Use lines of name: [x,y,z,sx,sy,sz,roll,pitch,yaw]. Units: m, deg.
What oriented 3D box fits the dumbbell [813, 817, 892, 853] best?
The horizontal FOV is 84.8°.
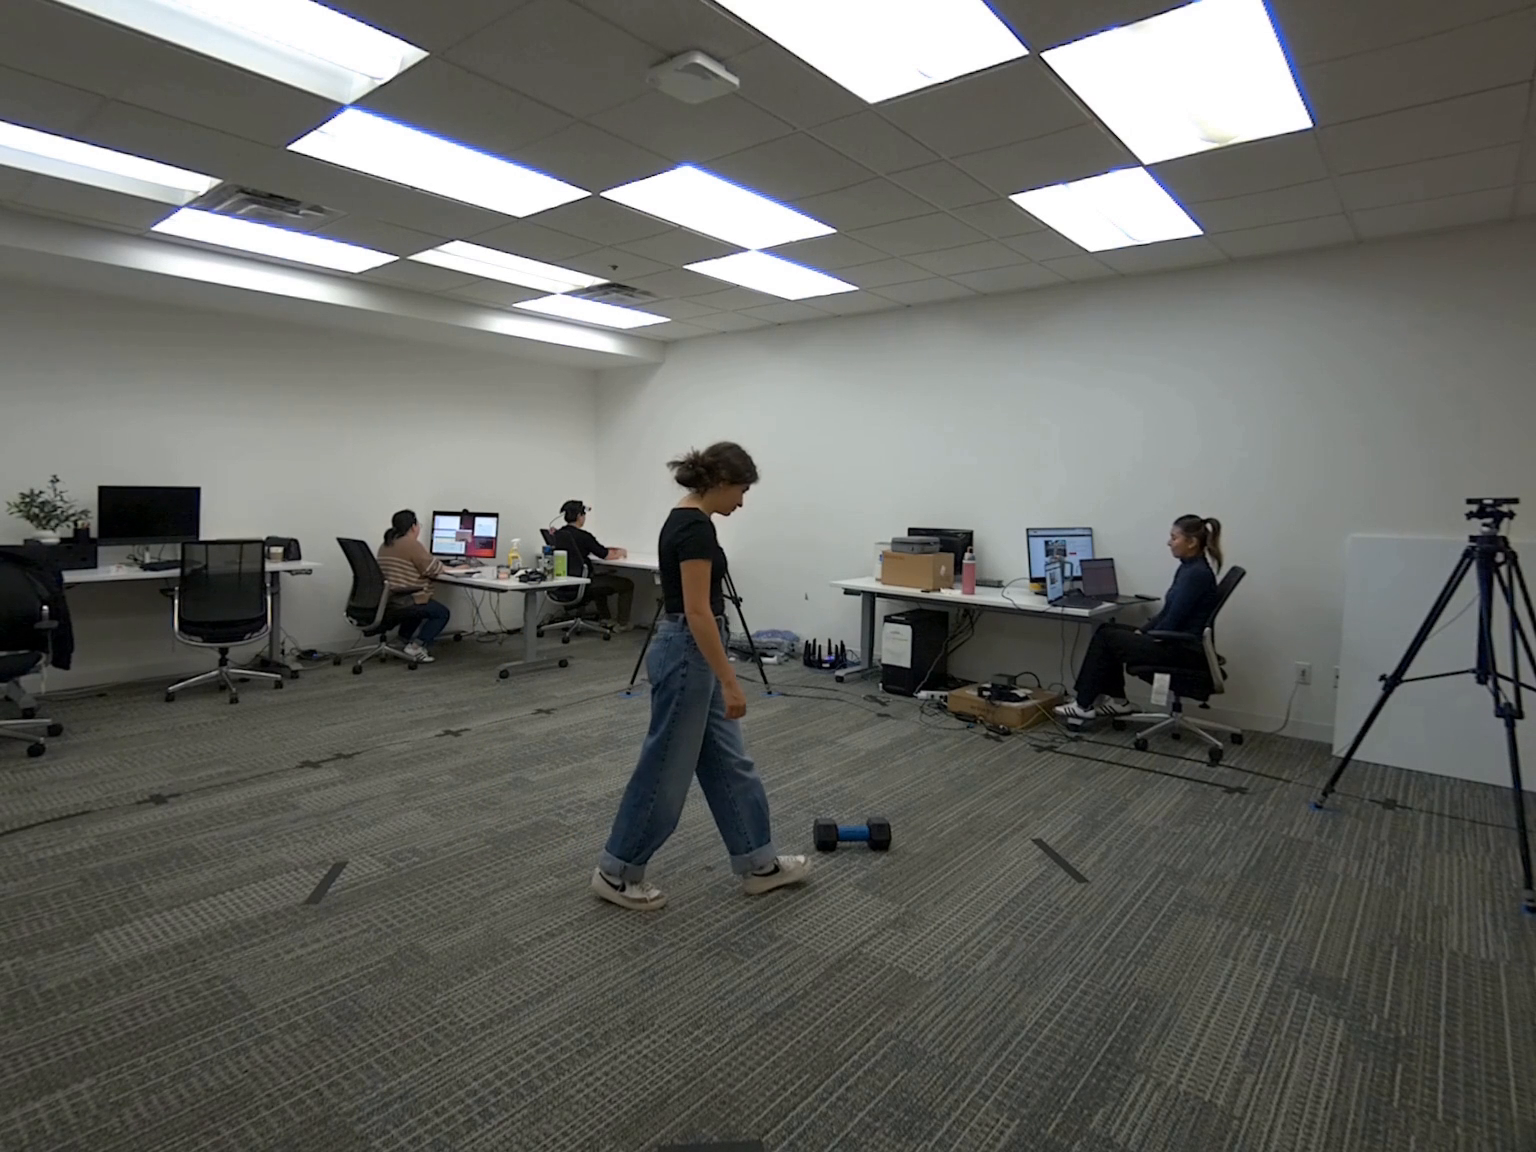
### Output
dumbbell: [0.323,1.004,3.323,0.292,0.120,0.112,1,35,-5]
